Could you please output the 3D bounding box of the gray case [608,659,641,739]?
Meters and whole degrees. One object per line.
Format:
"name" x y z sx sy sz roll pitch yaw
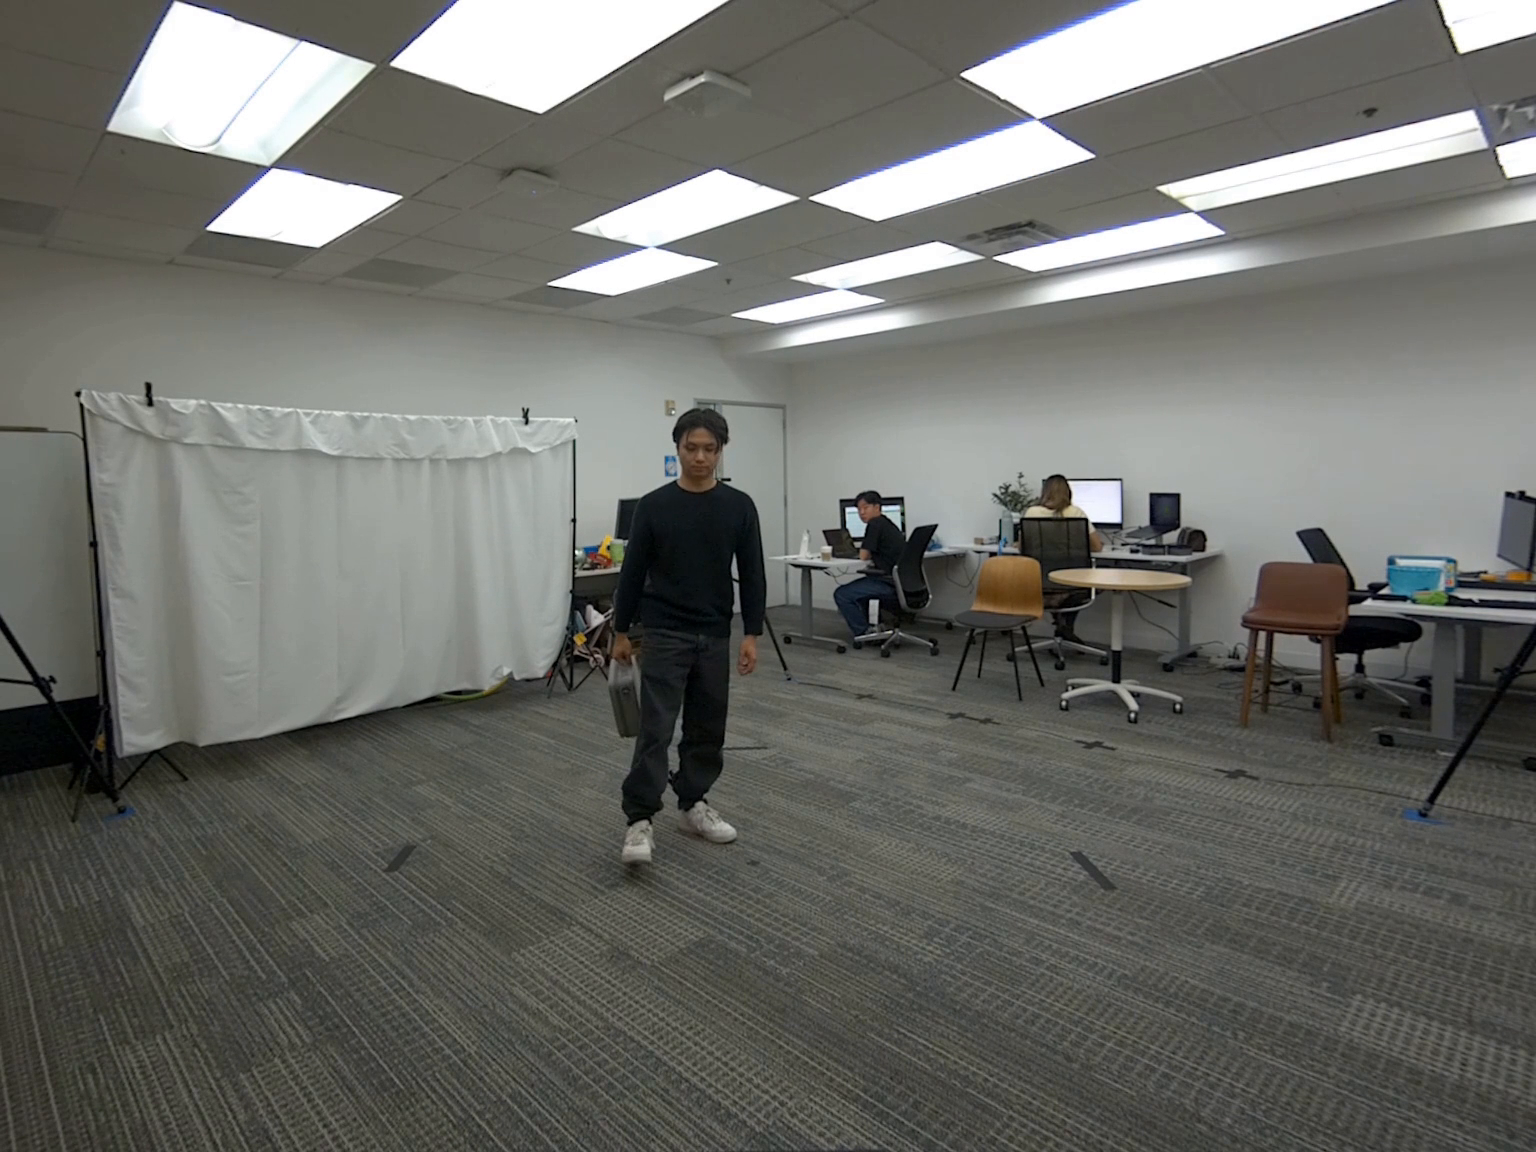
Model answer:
"gray case" -0.556 0.466 3.393 0.104 0.256 0.262 -10 19 -3
